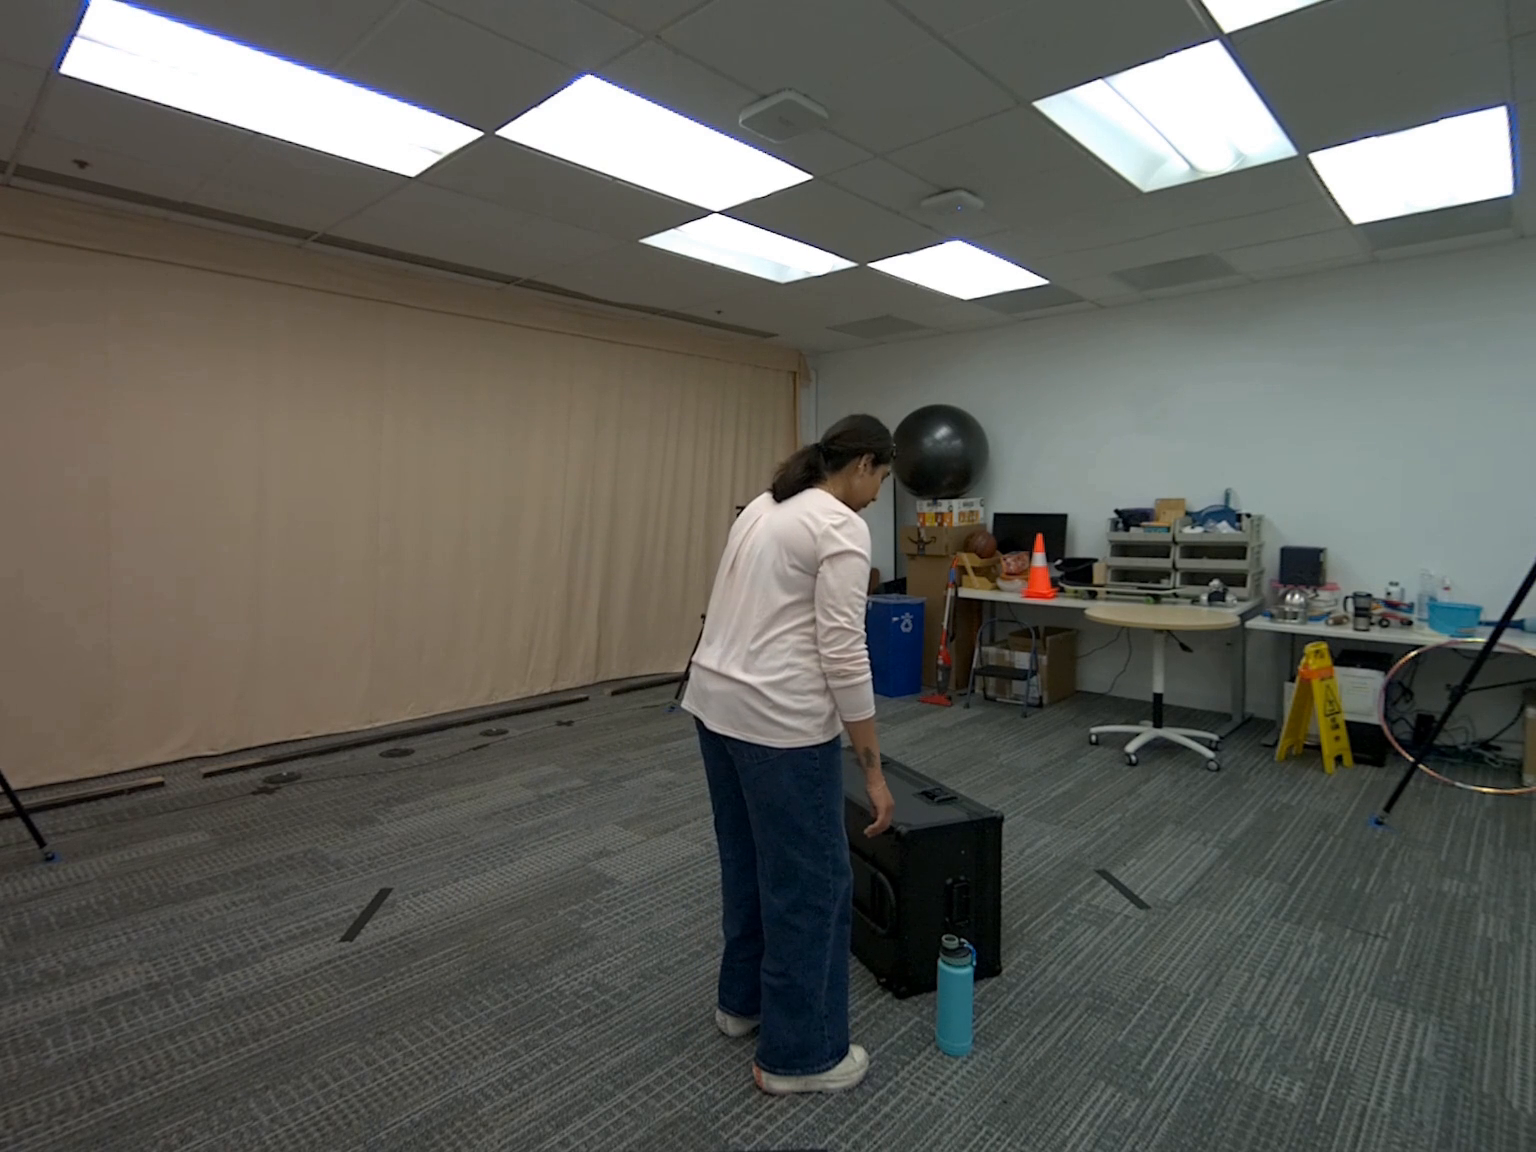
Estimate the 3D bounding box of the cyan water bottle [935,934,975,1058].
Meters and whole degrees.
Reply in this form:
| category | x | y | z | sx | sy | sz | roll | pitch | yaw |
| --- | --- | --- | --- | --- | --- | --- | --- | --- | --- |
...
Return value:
| category | x | y | z | sx | sy | sz | roll | pitch | yaw |
| --- | --- | --- | --- | --- | --- | --- | --- | --- | --- |
| cyan water bottle | 0.480 | 1.066 | 2.162 | 0.092 | 0.283 | 0.092 | 3 | 0 | -2 |
